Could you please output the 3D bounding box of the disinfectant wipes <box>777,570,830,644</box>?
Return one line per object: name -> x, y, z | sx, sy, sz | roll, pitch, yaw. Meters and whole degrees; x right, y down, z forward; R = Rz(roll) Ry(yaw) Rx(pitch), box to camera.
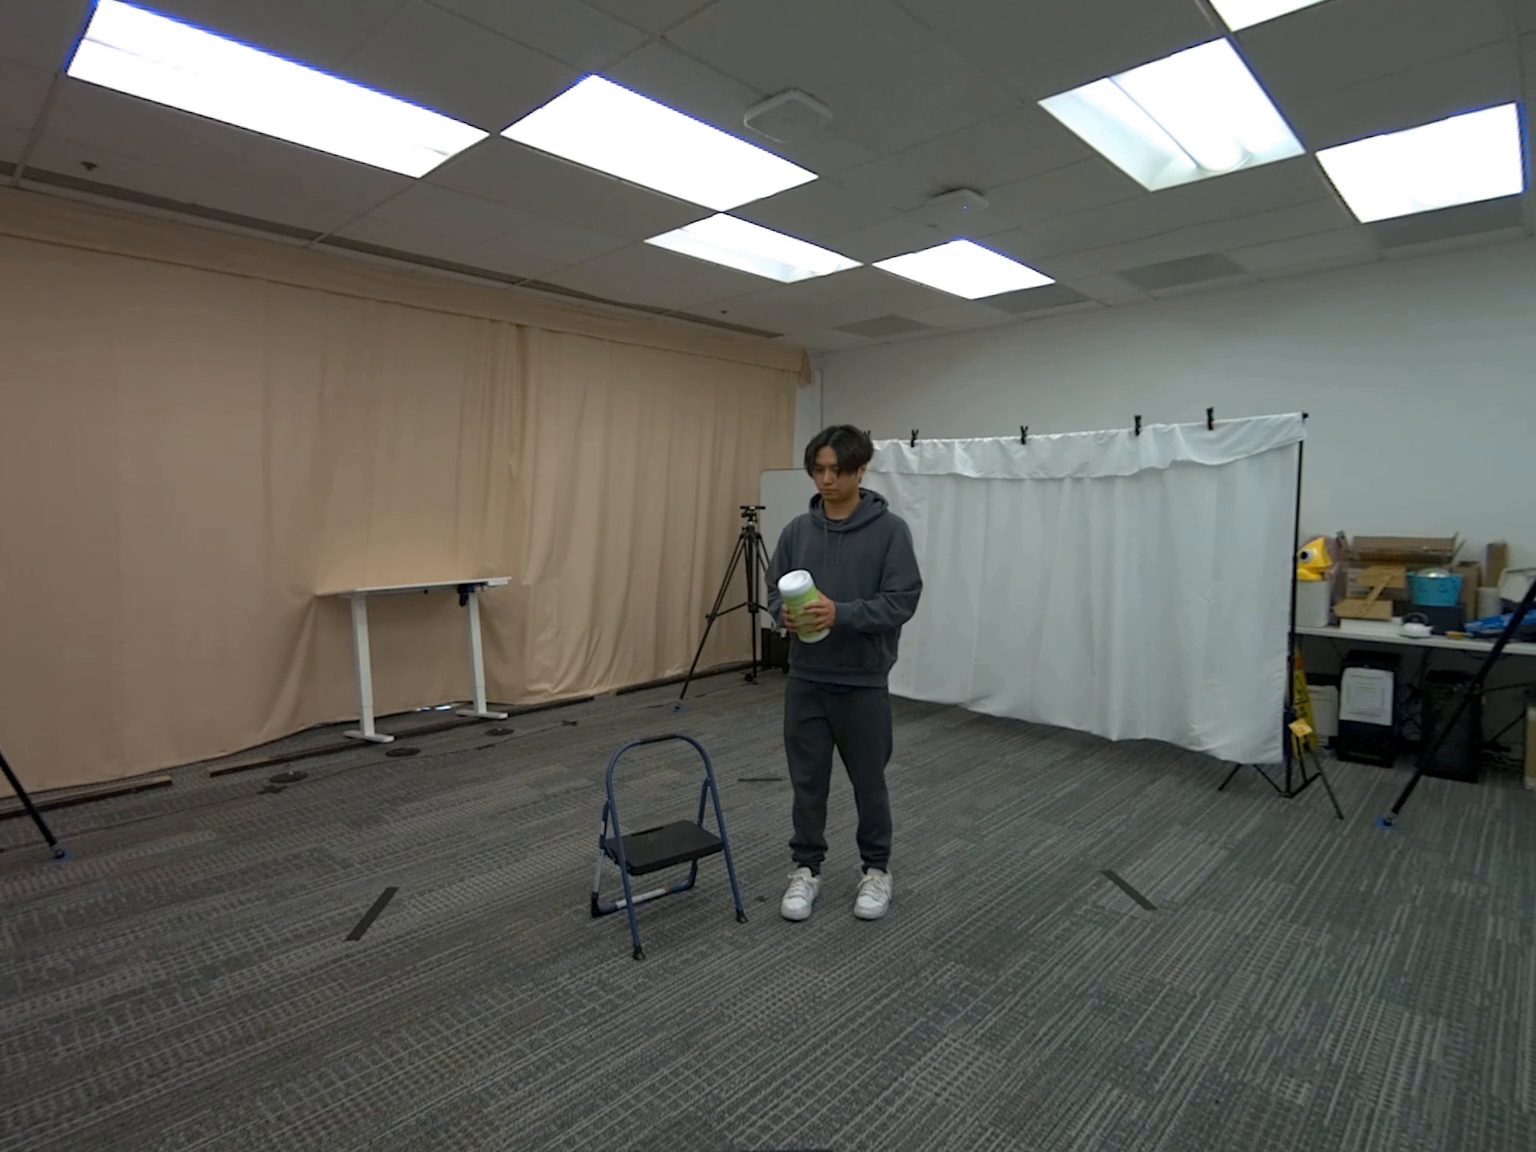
disinfectant wipes -> 0.125, 0.098, 2.705 | 0.118, 0.212, 0.119 | -20, 25, 8
